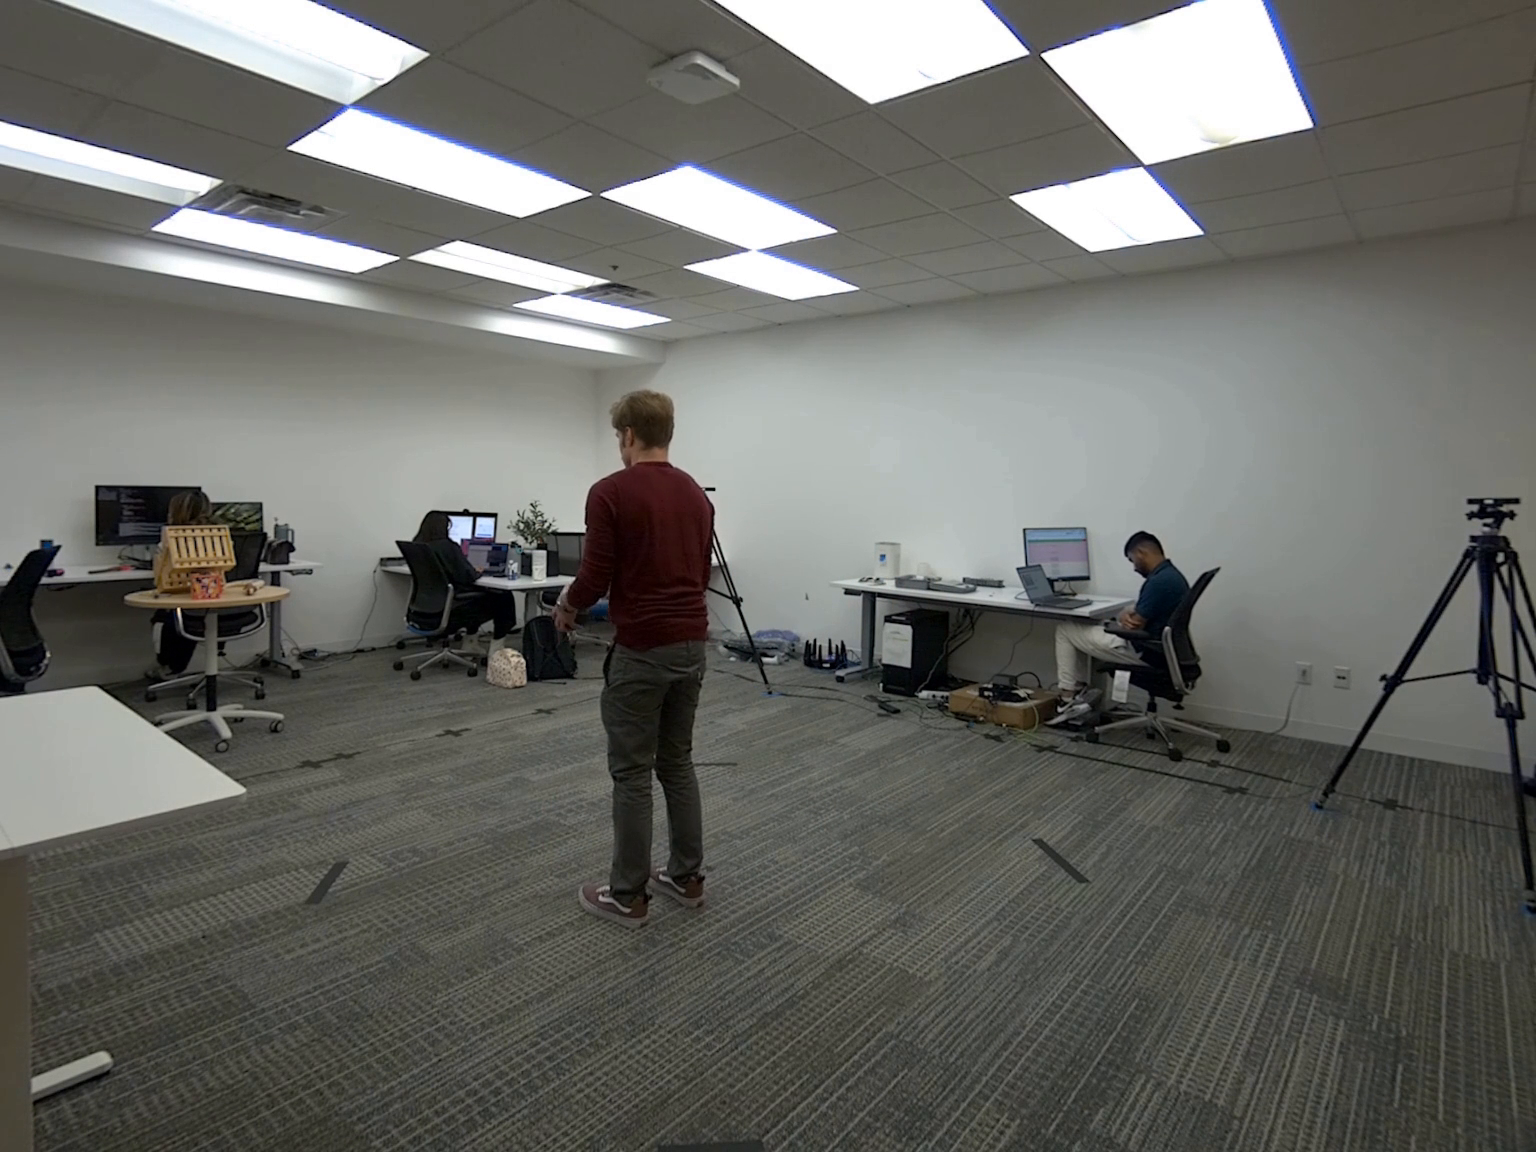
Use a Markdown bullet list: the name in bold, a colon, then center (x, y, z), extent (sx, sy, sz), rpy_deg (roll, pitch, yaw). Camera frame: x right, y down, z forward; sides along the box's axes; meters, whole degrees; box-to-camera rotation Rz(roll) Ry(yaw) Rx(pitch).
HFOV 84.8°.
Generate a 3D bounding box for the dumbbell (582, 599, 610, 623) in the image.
- **dumbbell**: center (-0.604, 0.107, 3.010), extent (0.284, 0.122, 0.113), rpy_deg (-2, 32, -47)
